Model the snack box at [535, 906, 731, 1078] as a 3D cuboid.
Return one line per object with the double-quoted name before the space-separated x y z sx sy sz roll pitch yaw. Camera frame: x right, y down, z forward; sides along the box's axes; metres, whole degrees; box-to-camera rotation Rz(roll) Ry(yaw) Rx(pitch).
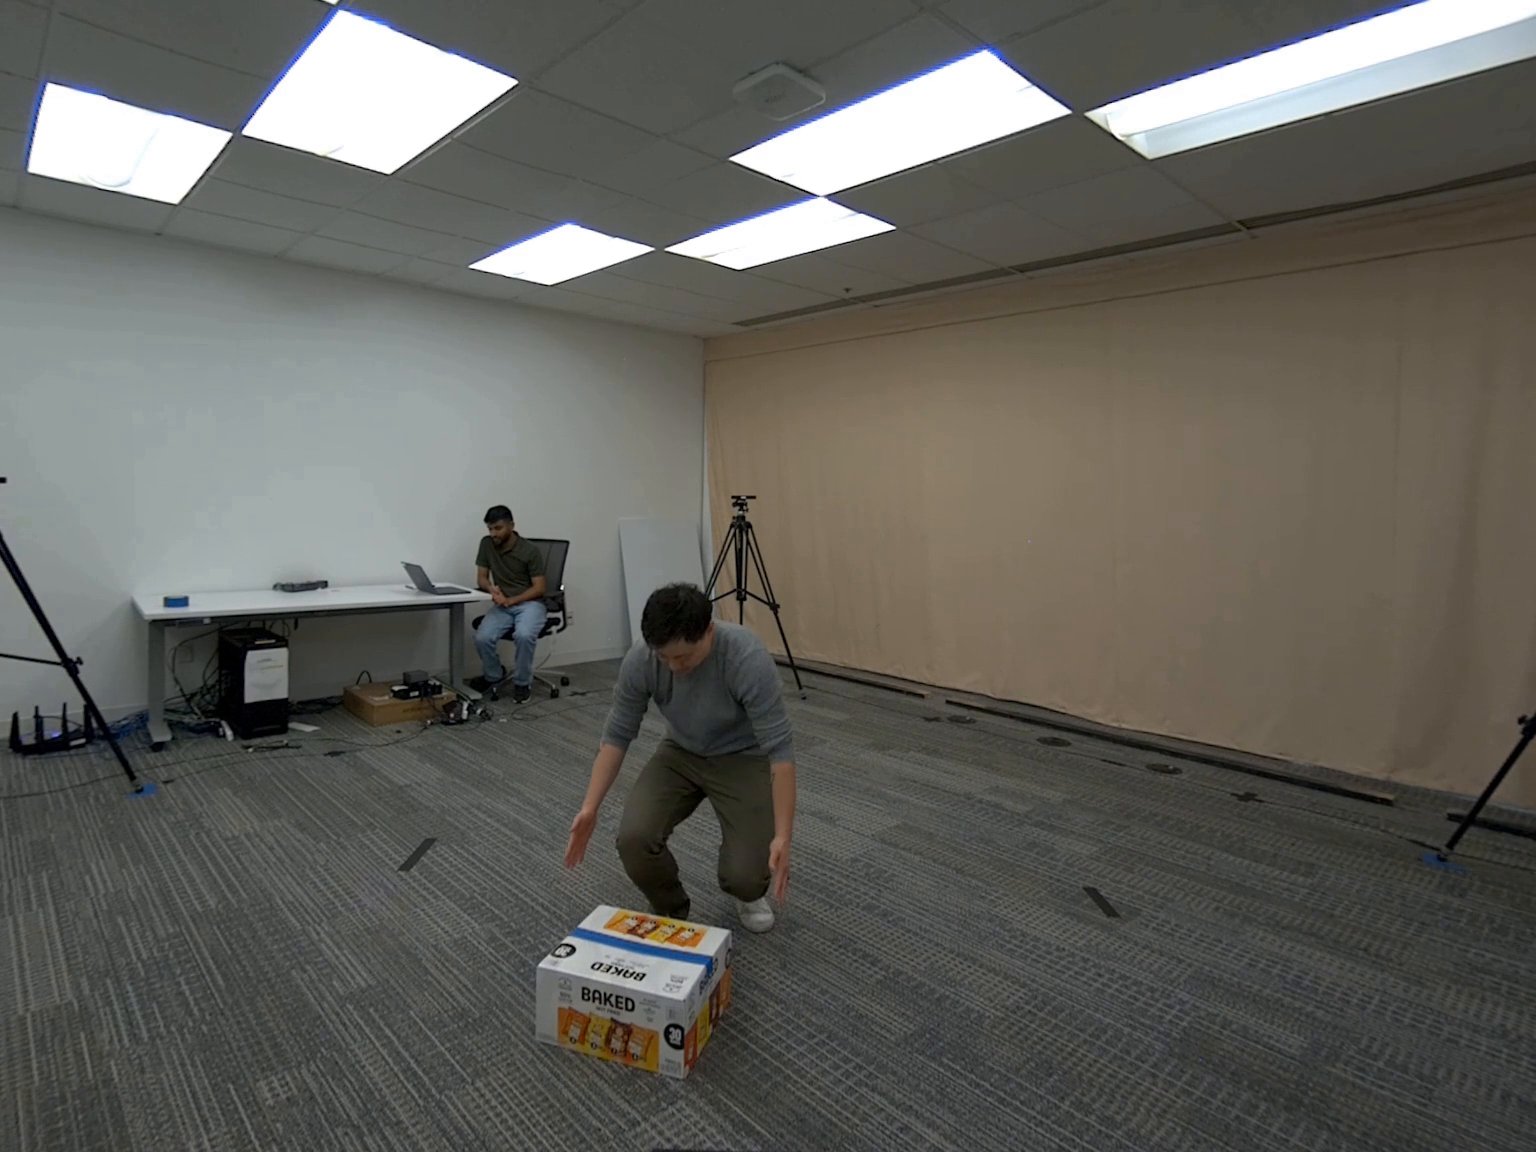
"snack box" -0.351 1.074 2.222 0.411 0.205 0.336 3 5 18
